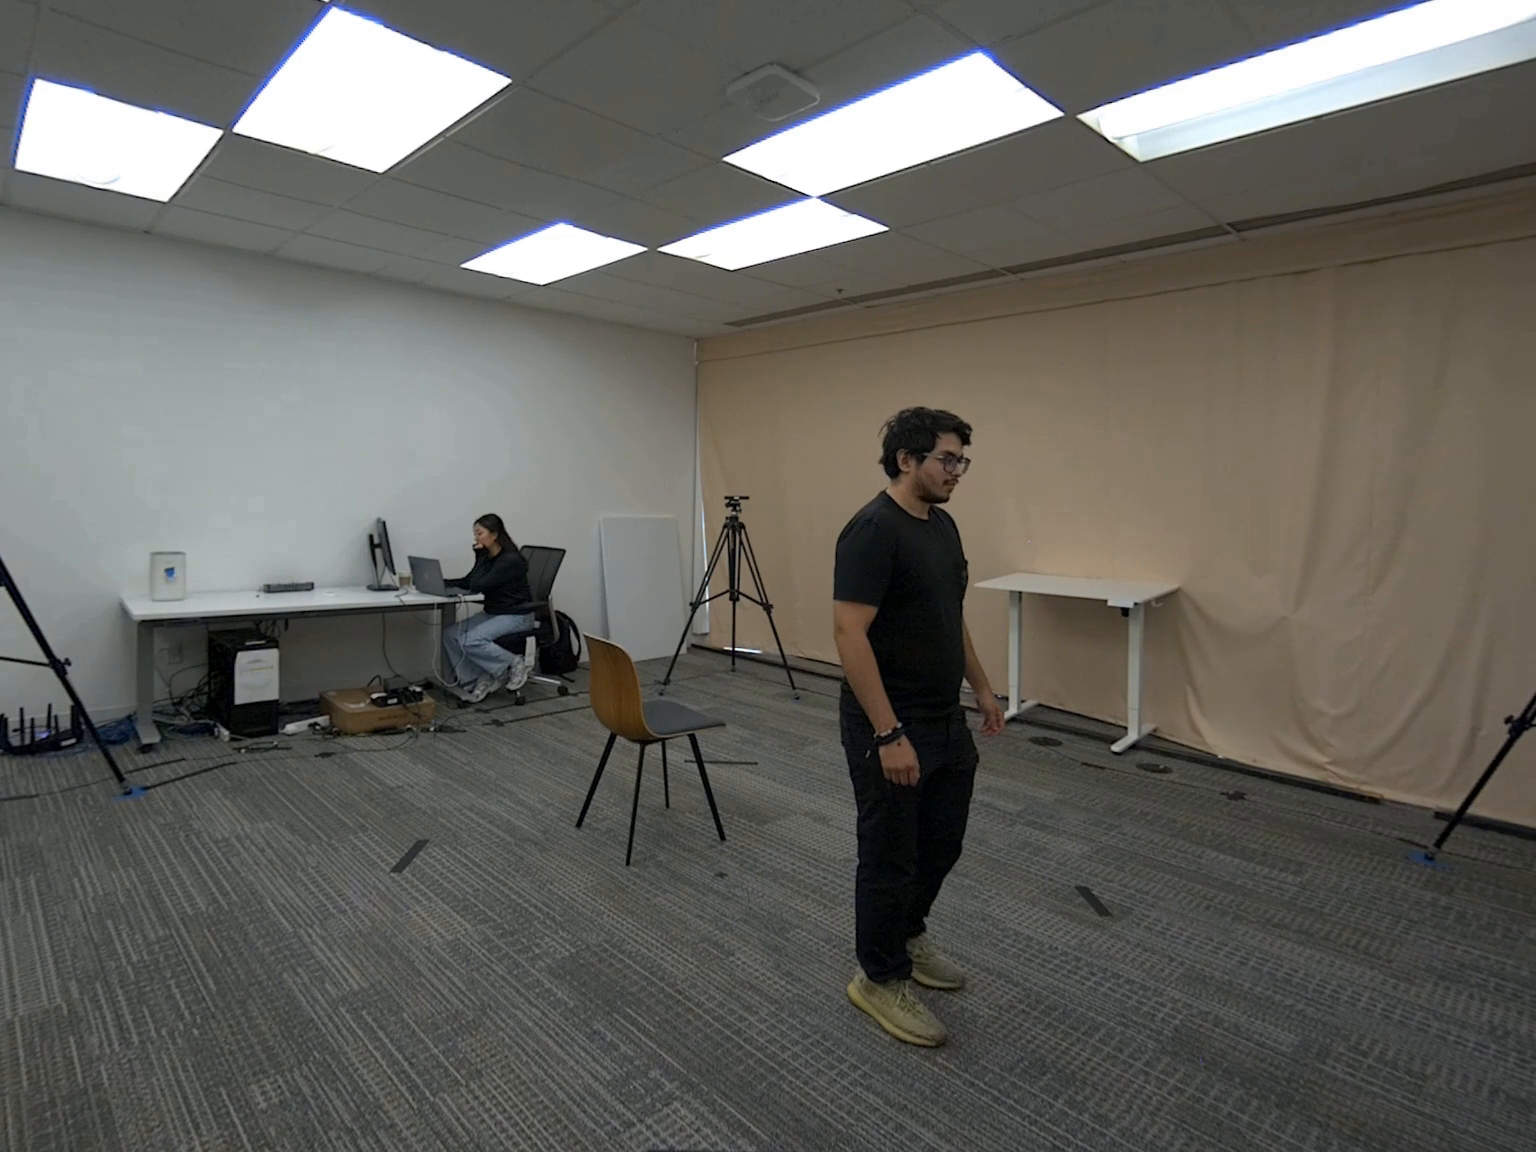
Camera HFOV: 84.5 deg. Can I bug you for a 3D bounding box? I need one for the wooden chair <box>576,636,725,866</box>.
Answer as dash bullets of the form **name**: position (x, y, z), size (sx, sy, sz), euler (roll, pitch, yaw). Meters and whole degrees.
- **wooden chair**: position (-0.478, 0.639, 3.447), size (0.512, 0.873, 0.490), euler (-6, 7, -37)
